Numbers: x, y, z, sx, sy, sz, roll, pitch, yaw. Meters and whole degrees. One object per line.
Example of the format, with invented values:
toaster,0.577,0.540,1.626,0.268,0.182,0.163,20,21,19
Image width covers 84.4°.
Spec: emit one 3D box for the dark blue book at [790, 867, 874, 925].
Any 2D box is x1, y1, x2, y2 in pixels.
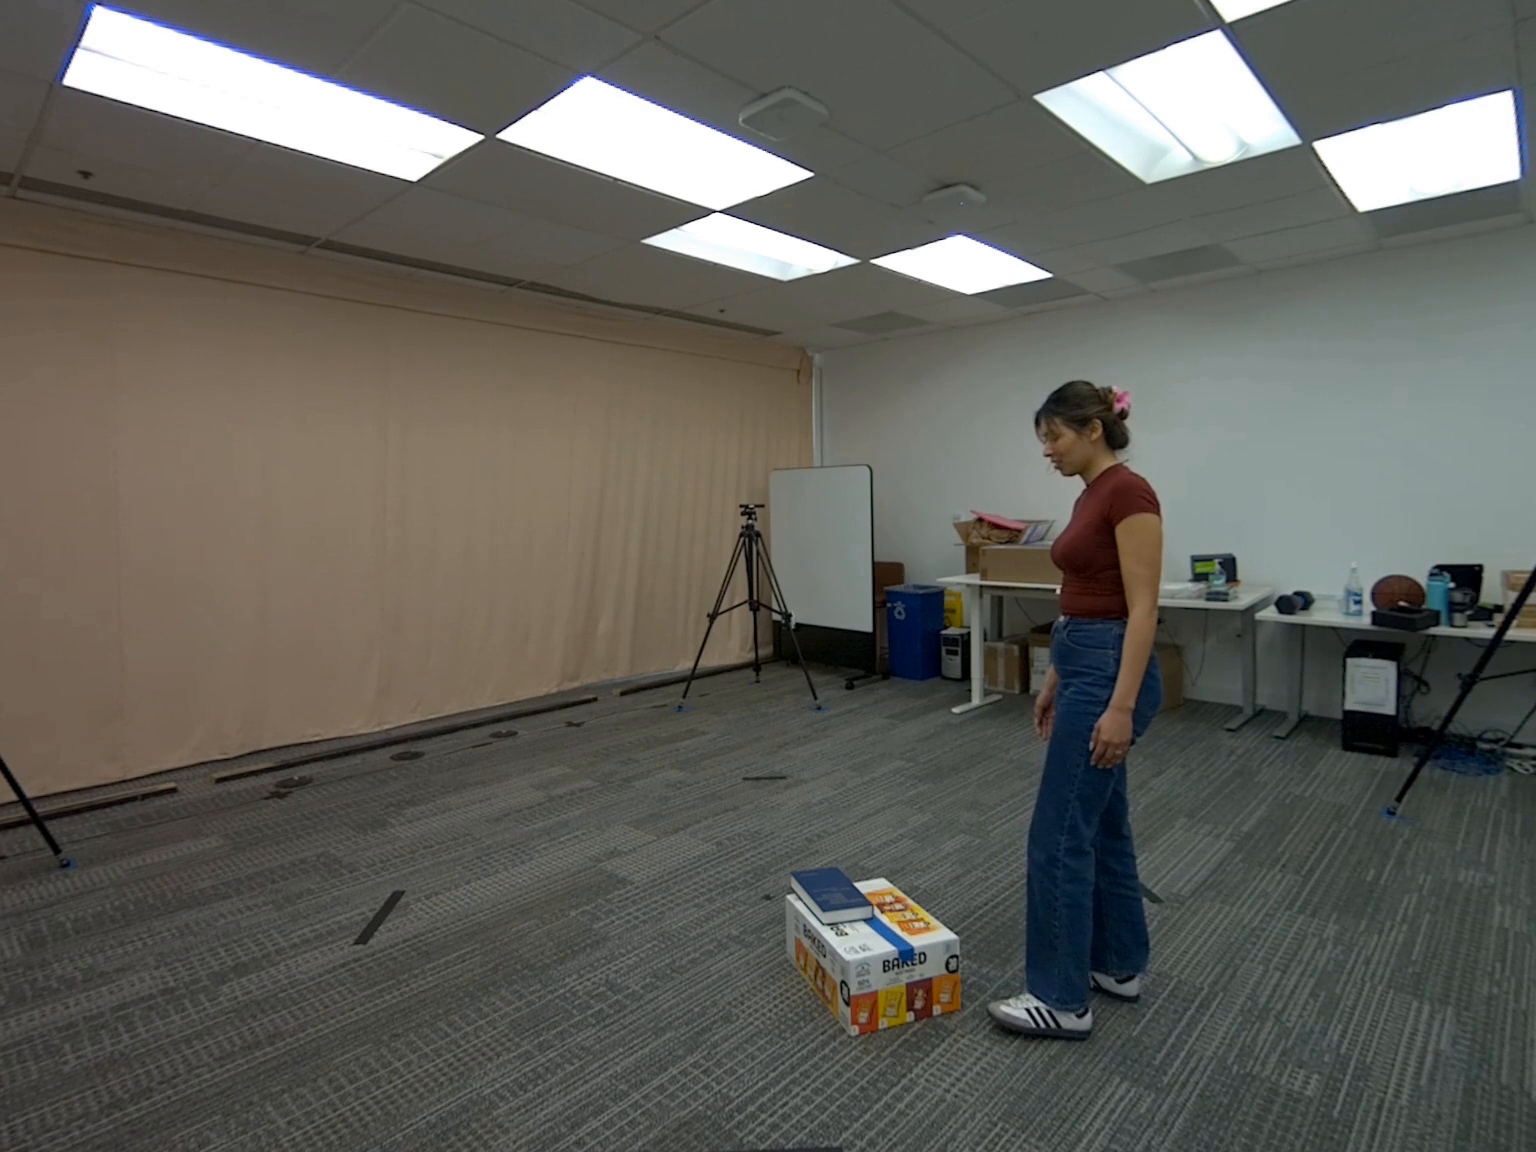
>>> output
dark blue book,0.193,0.957,2.510,0.160,0.045,0.251,-1,7,-21
